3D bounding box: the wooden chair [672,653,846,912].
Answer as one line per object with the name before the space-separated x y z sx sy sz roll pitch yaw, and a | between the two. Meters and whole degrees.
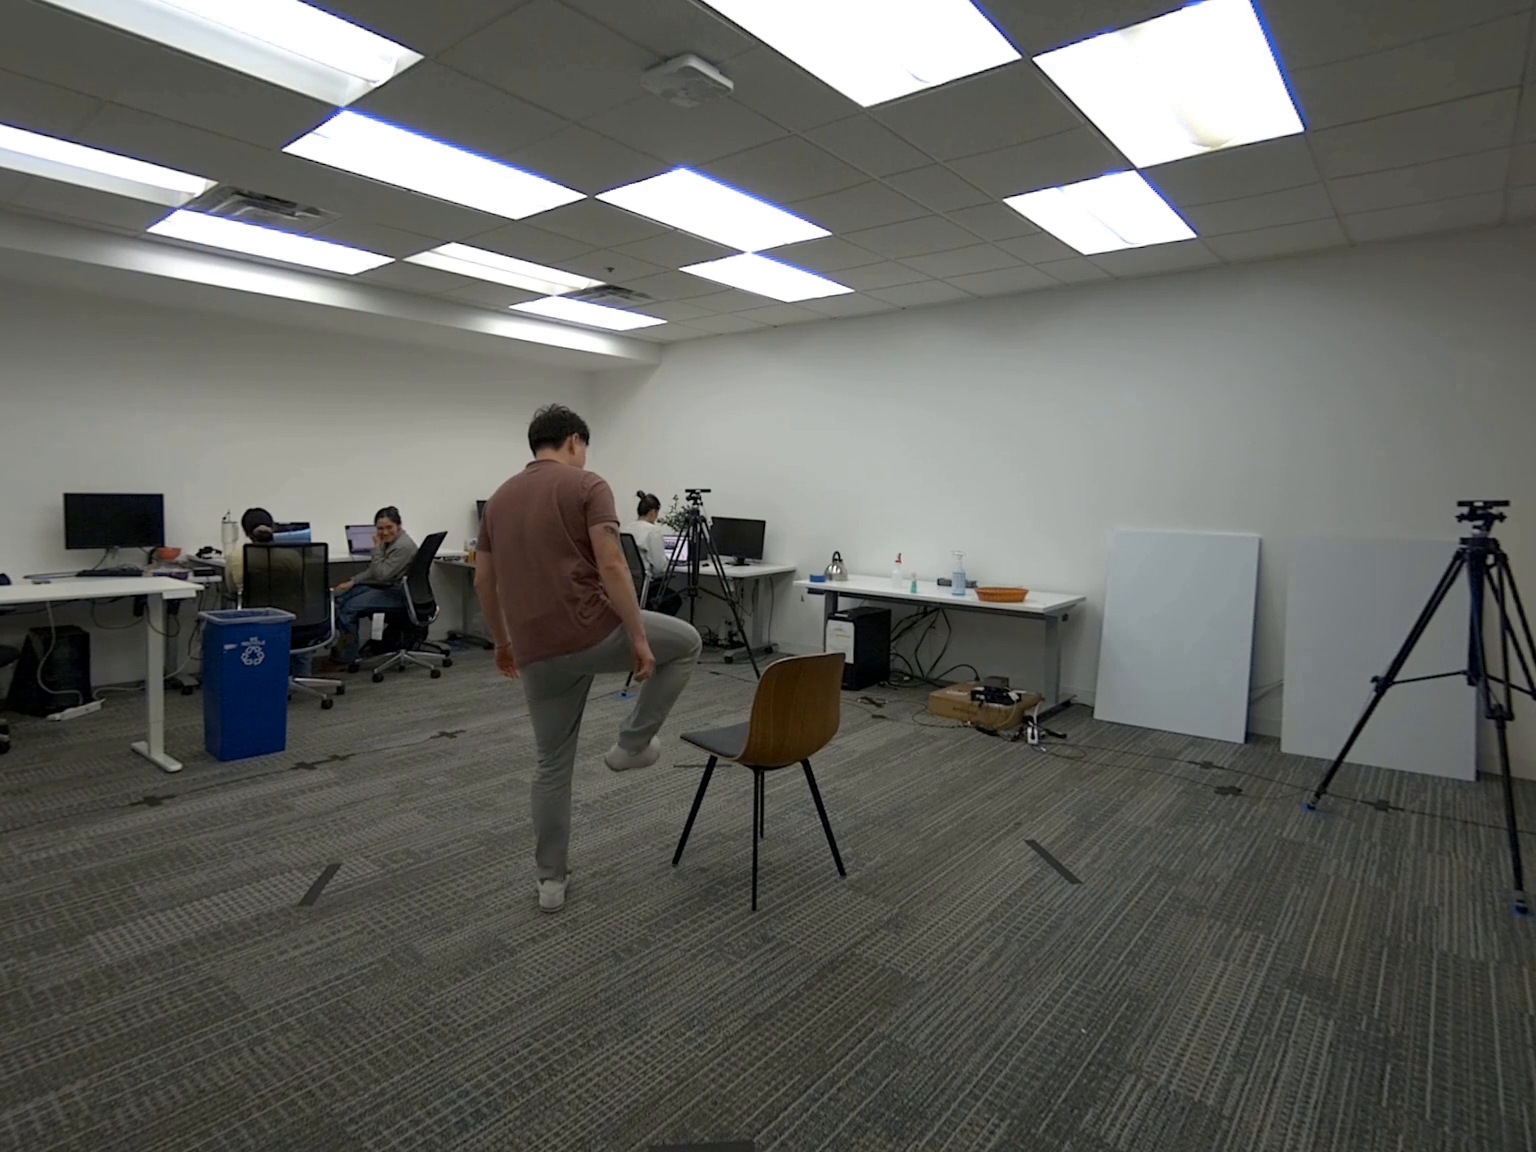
wooden chair | -0.038 0.651 3.101 0.463 0.872 0.542 -1 9 -42
